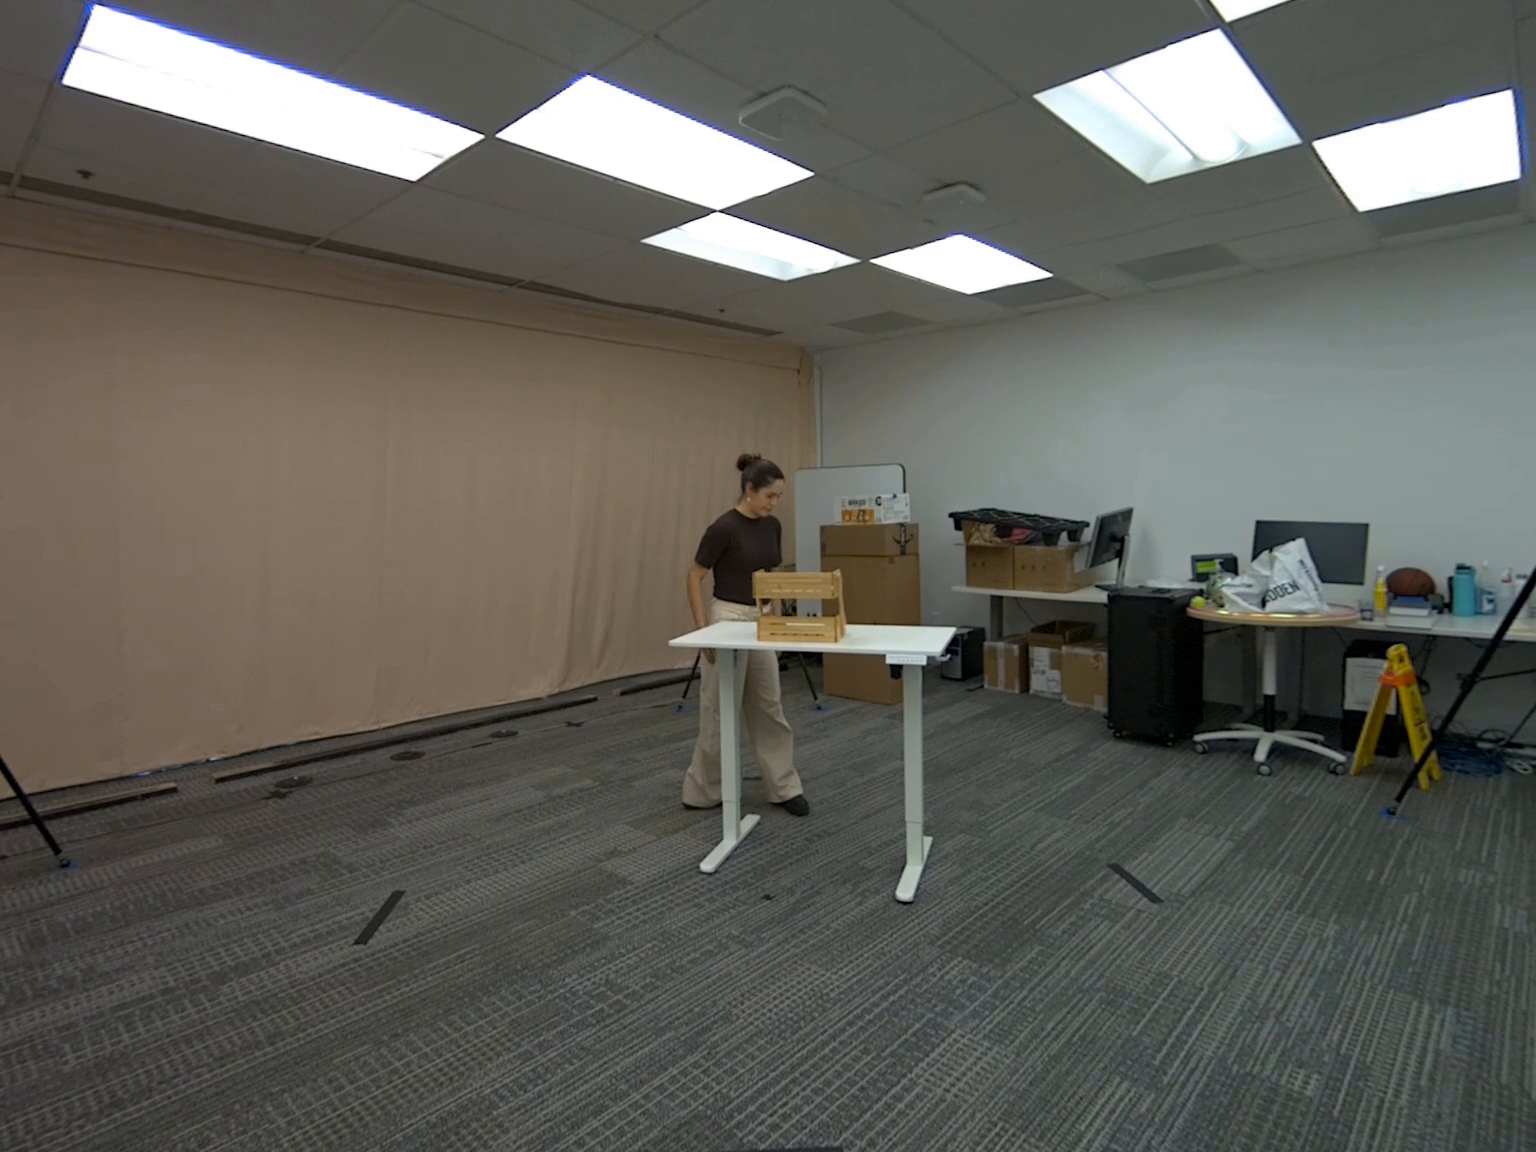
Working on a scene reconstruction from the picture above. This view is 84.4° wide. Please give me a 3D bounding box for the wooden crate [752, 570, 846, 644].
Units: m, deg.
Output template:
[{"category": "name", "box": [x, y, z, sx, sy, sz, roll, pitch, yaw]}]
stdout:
[{"category": "wooden crate", "box": [0.129, 0.103, 3.202, 0.330, 0.273, 0.298, 0, 3, 15]}]
